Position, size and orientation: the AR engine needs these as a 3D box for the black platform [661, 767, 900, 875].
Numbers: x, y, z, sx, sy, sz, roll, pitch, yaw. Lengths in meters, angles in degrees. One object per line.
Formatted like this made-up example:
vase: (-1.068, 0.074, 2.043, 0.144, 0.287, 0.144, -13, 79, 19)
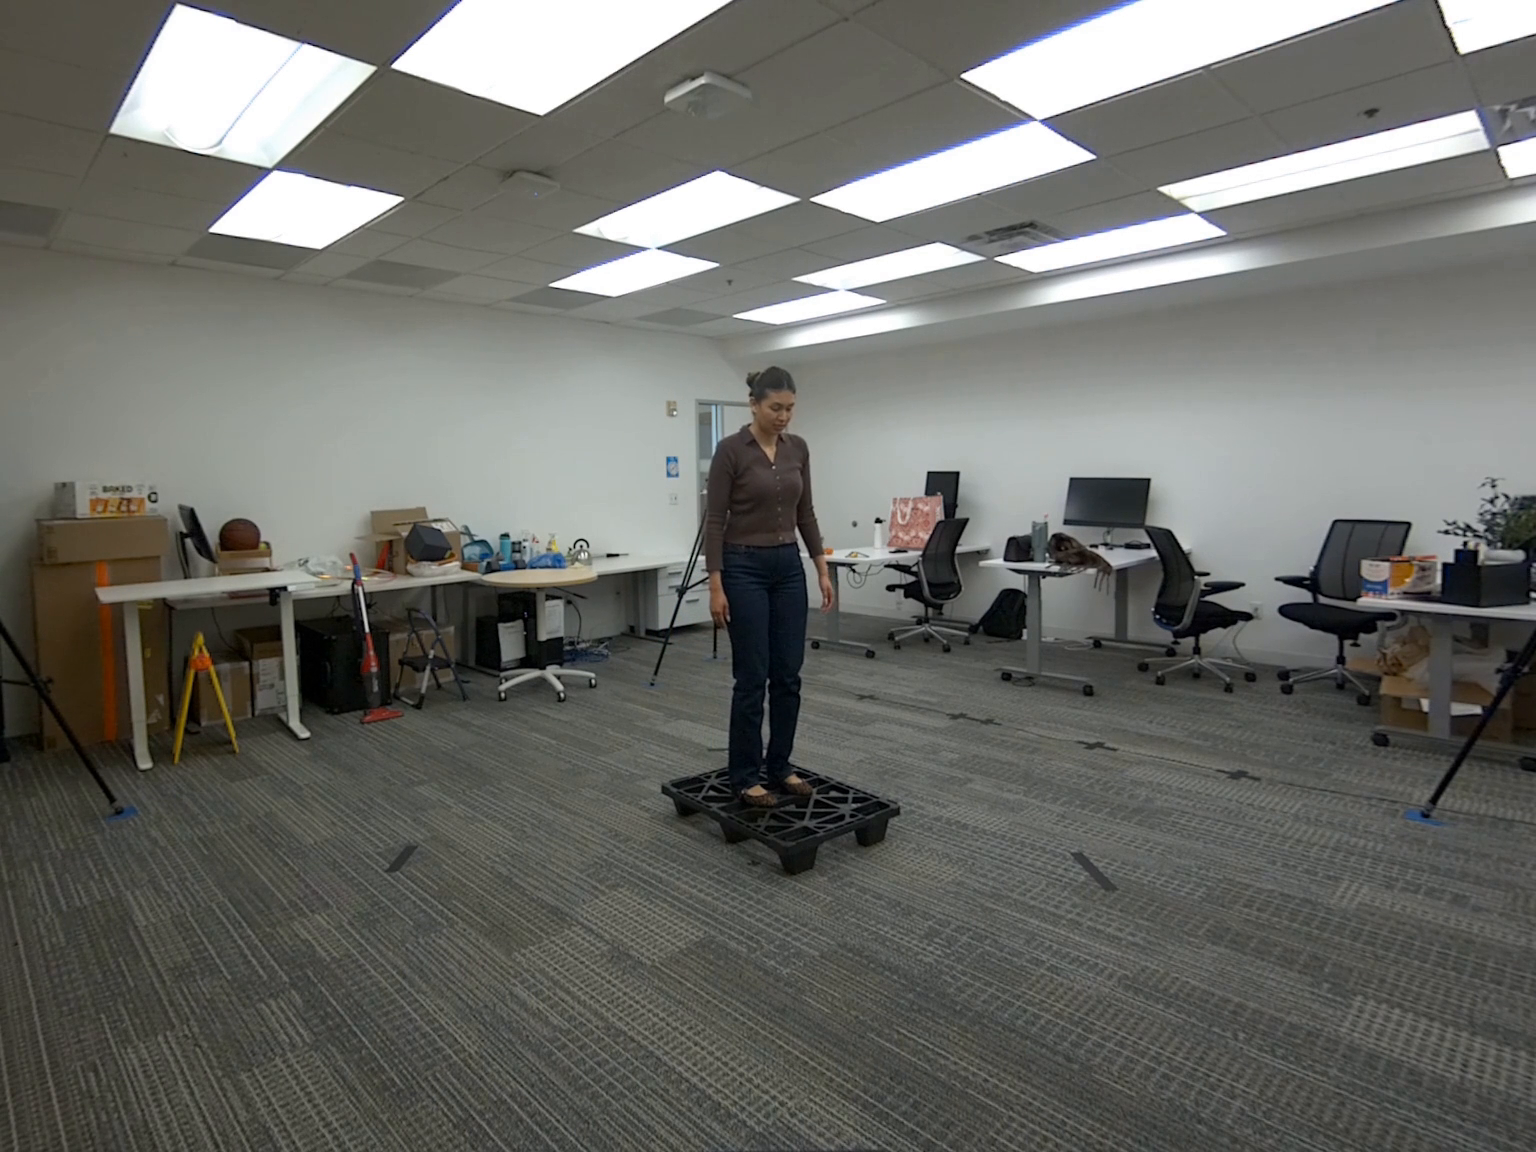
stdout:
black platform: (0.033, 0.940, 3.425, 0.590, 0.142, 0.830, -6, 8, -38)
